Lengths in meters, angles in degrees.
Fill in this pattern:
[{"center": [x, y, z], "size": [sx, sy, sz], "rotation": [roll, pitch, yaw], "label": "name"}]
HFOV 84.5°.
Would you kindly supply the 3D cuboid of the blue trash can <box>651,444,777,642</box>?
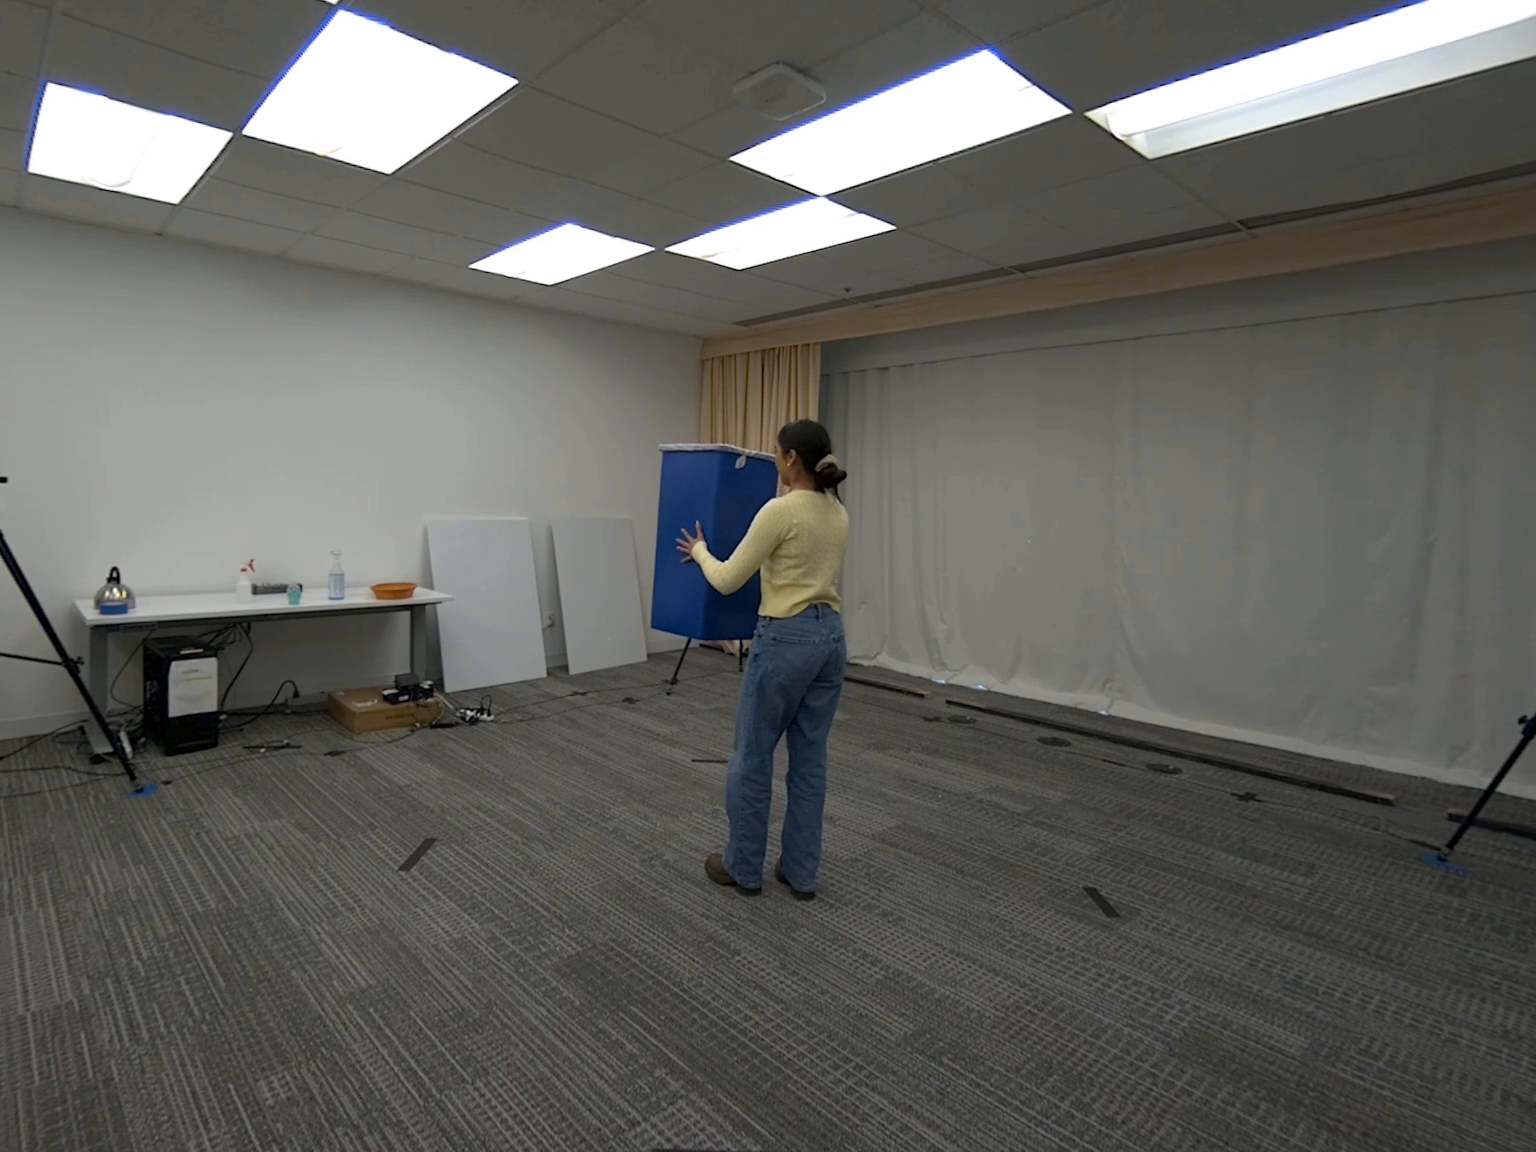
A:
[{"center": [-0.226, -0.132, 3.263], "size": [0.384, 0.713, 0.368], "rotation": [7, 1, 43], "label": "blue trash can"}]
